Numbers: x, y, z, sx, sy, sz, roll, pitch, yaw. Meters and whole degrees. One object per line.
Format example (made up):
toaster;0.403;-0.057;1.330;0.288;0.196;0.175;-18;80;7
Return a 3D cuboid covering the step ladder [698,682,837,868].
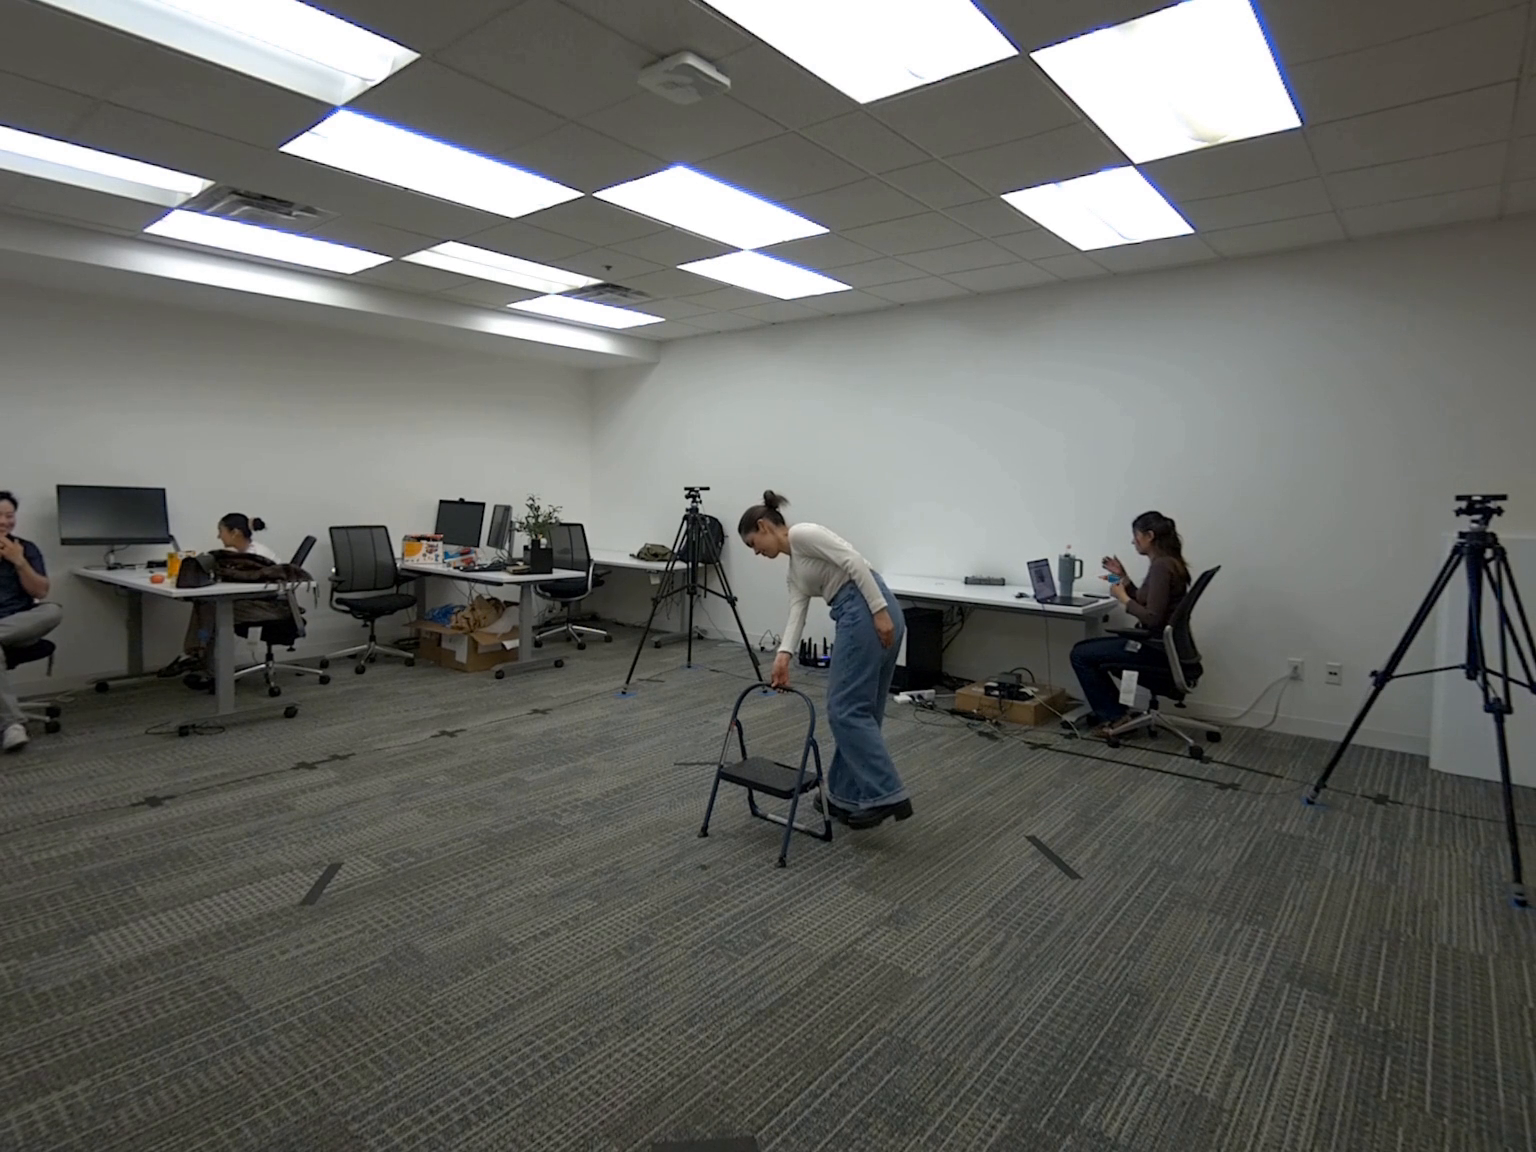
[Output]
step ladder;-0.008;0.743;3.369;0.445;0.604;0.339;4;5;39
